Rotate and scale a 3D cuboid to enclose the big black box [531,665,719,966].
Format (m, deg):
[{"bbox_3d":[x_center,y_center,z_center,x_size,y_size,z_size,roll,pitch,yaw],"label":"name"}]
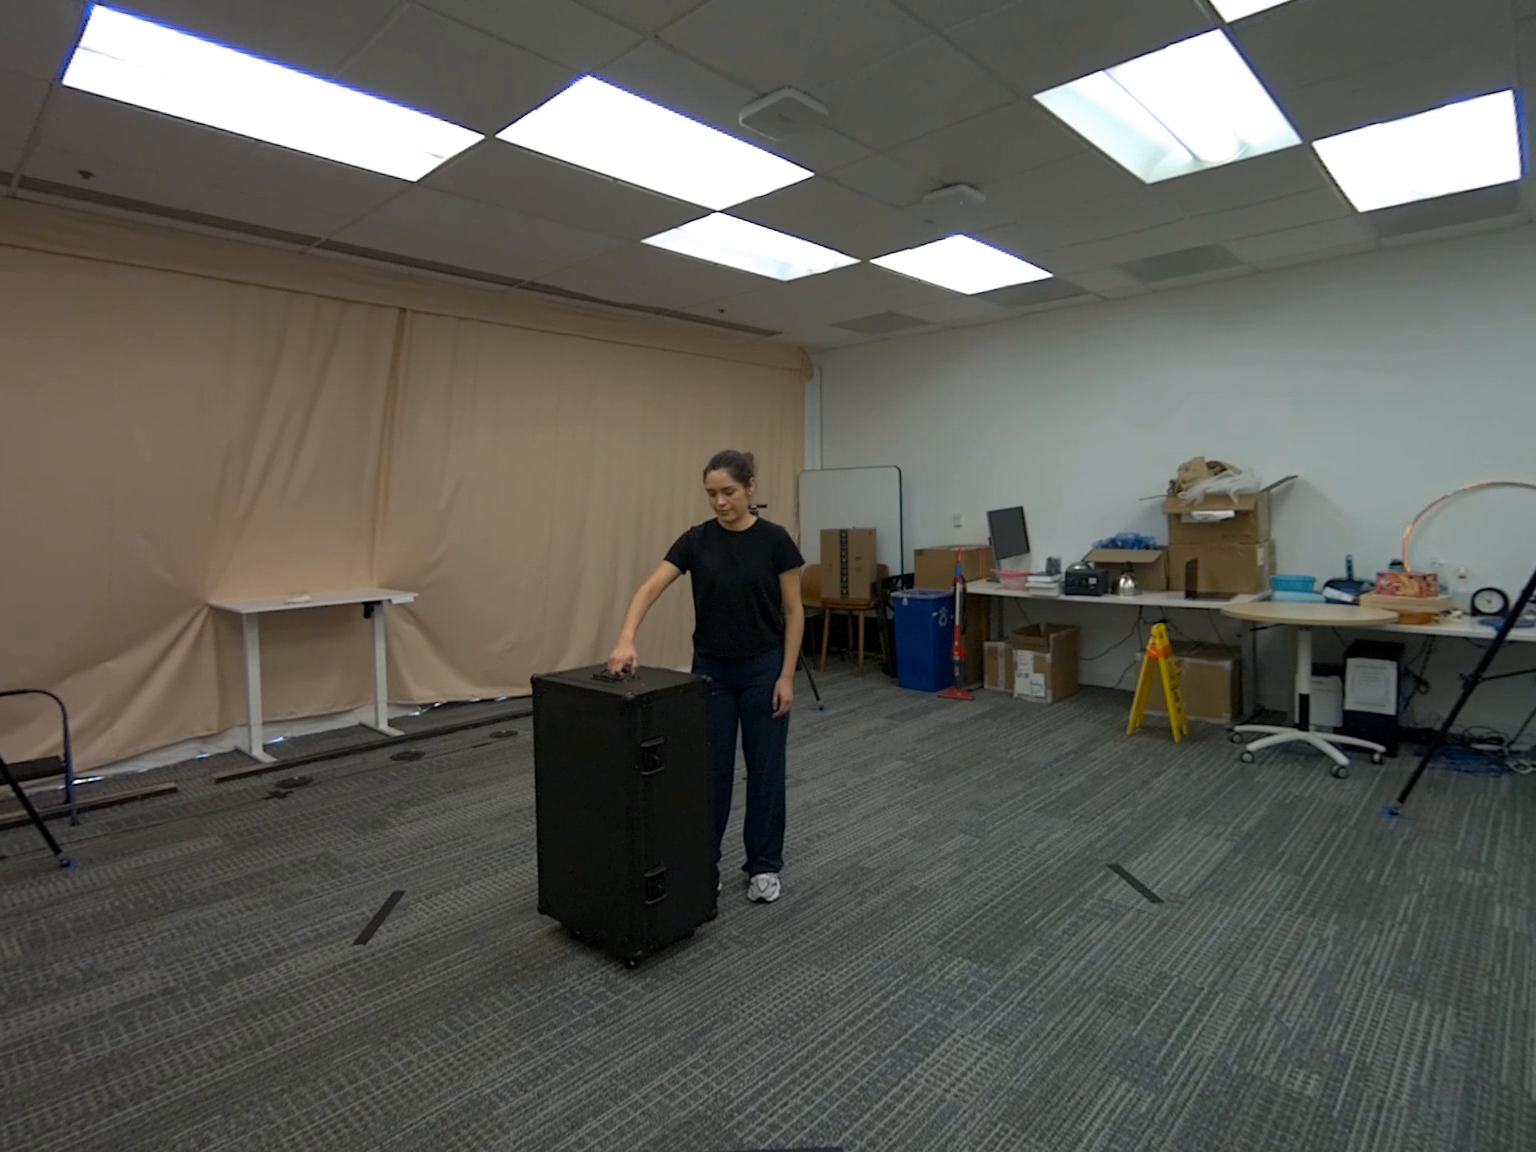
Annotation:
[{"bbox_3d":[-0.448,0.745,2.728,0.538,0.860,0.384,1,3,41],"label":"big black box"}]
